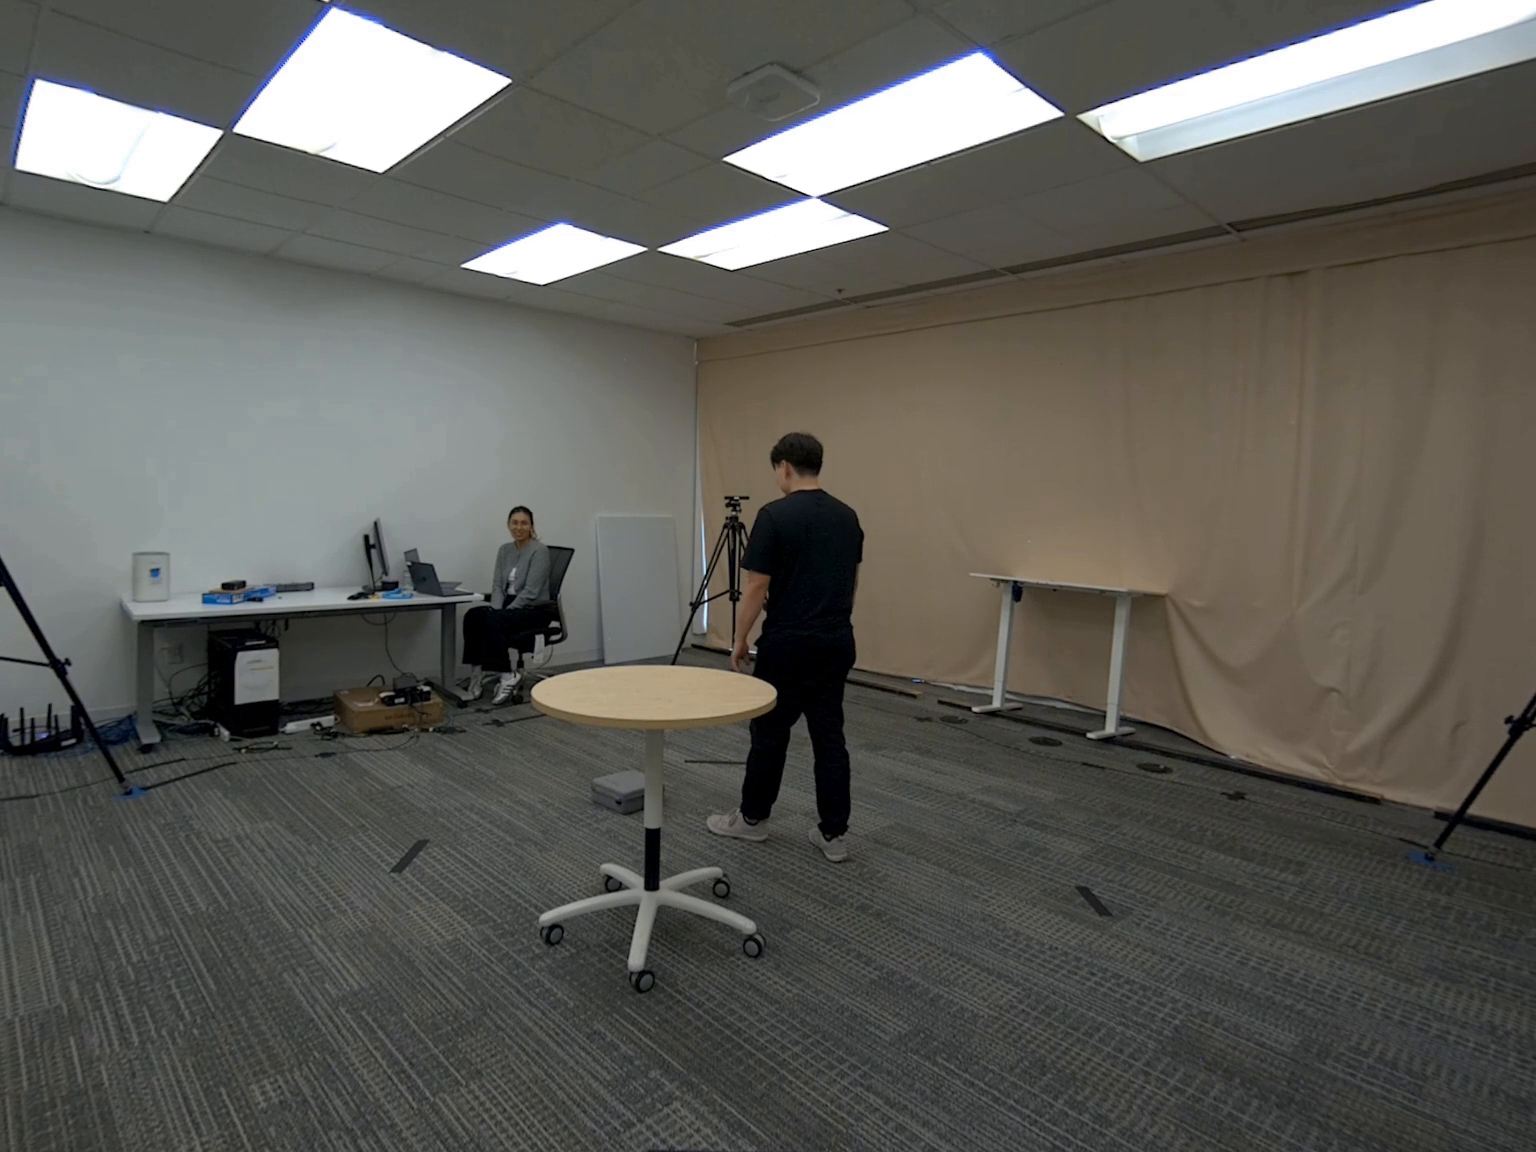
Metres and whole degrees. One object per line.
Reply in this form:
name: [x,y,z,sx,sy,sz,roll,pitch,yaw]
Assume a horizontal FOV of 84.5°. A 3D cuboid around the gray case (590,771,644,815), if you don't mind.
gray case: [-0.647,0.974,3.830,0.263,0.104,0.255,5,5,42]
